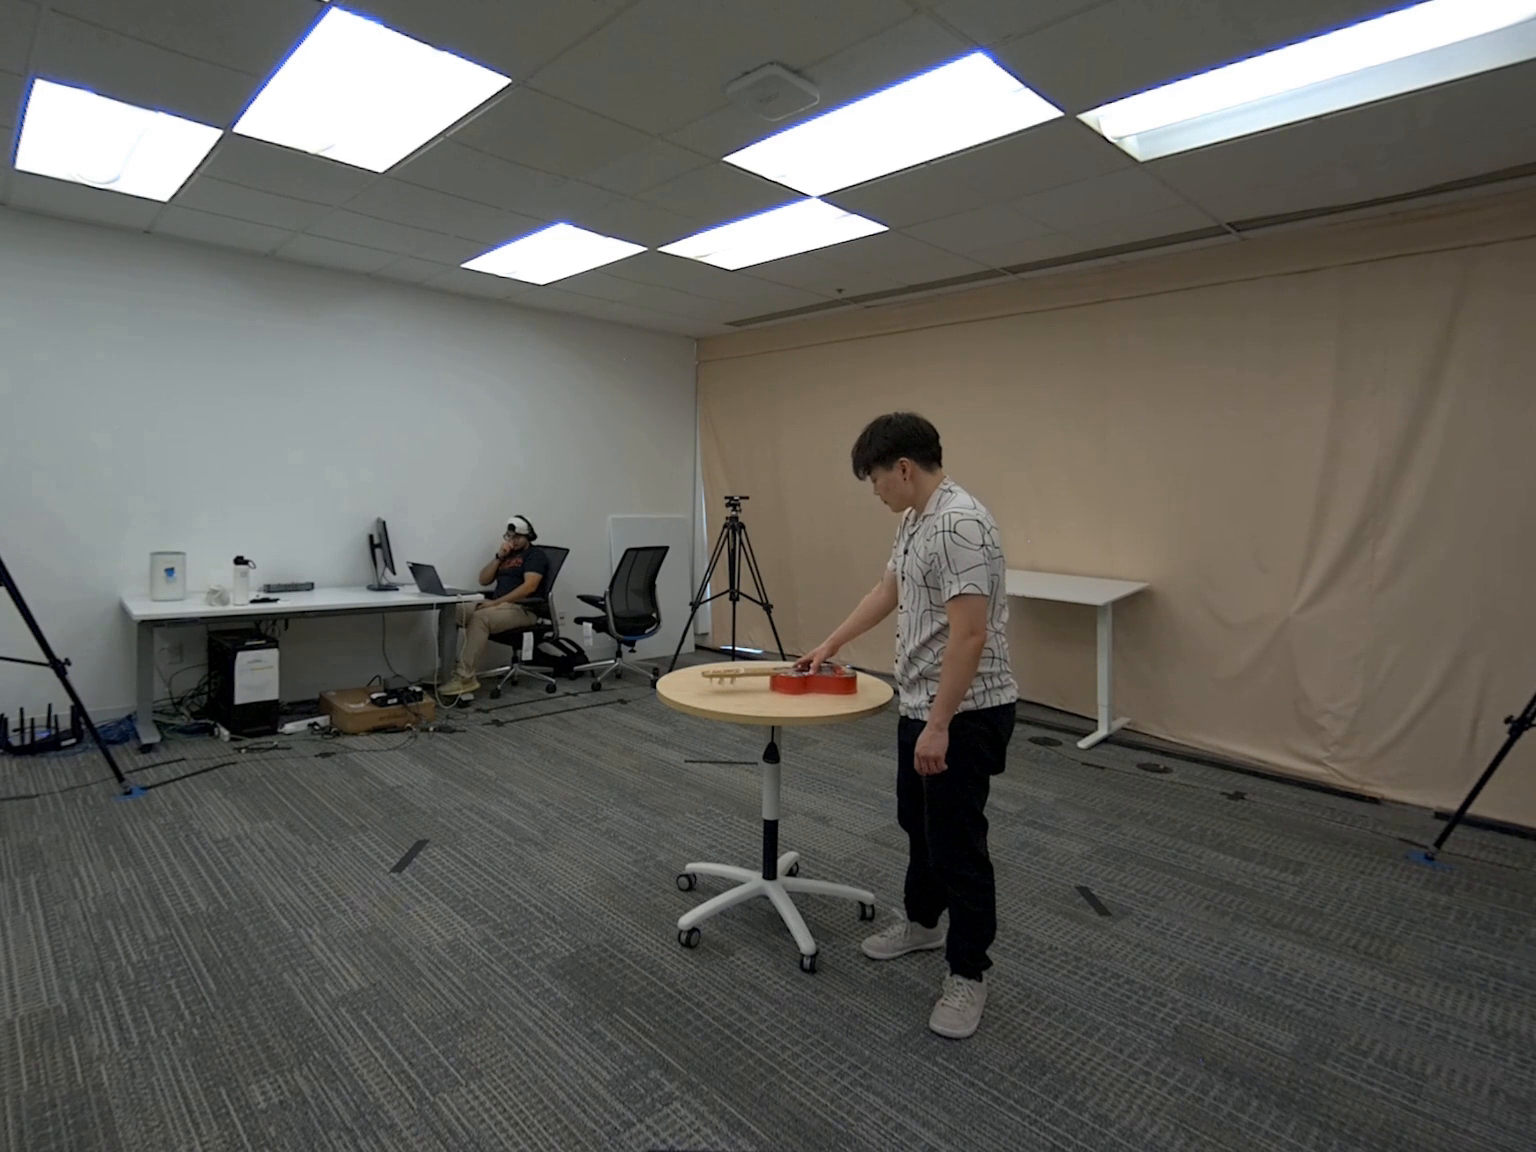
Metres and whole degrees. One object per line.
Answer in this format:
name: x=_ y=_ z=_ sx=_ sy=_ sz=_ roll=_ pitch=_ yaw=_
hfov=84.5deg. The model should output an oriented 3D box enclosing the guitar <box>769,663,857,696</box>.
guitar: x=0.031 y=0.324 z=2.703 sx=0.496 sy=0.070 sz=0.194 roll=2 pitch=6 yaw=-4
